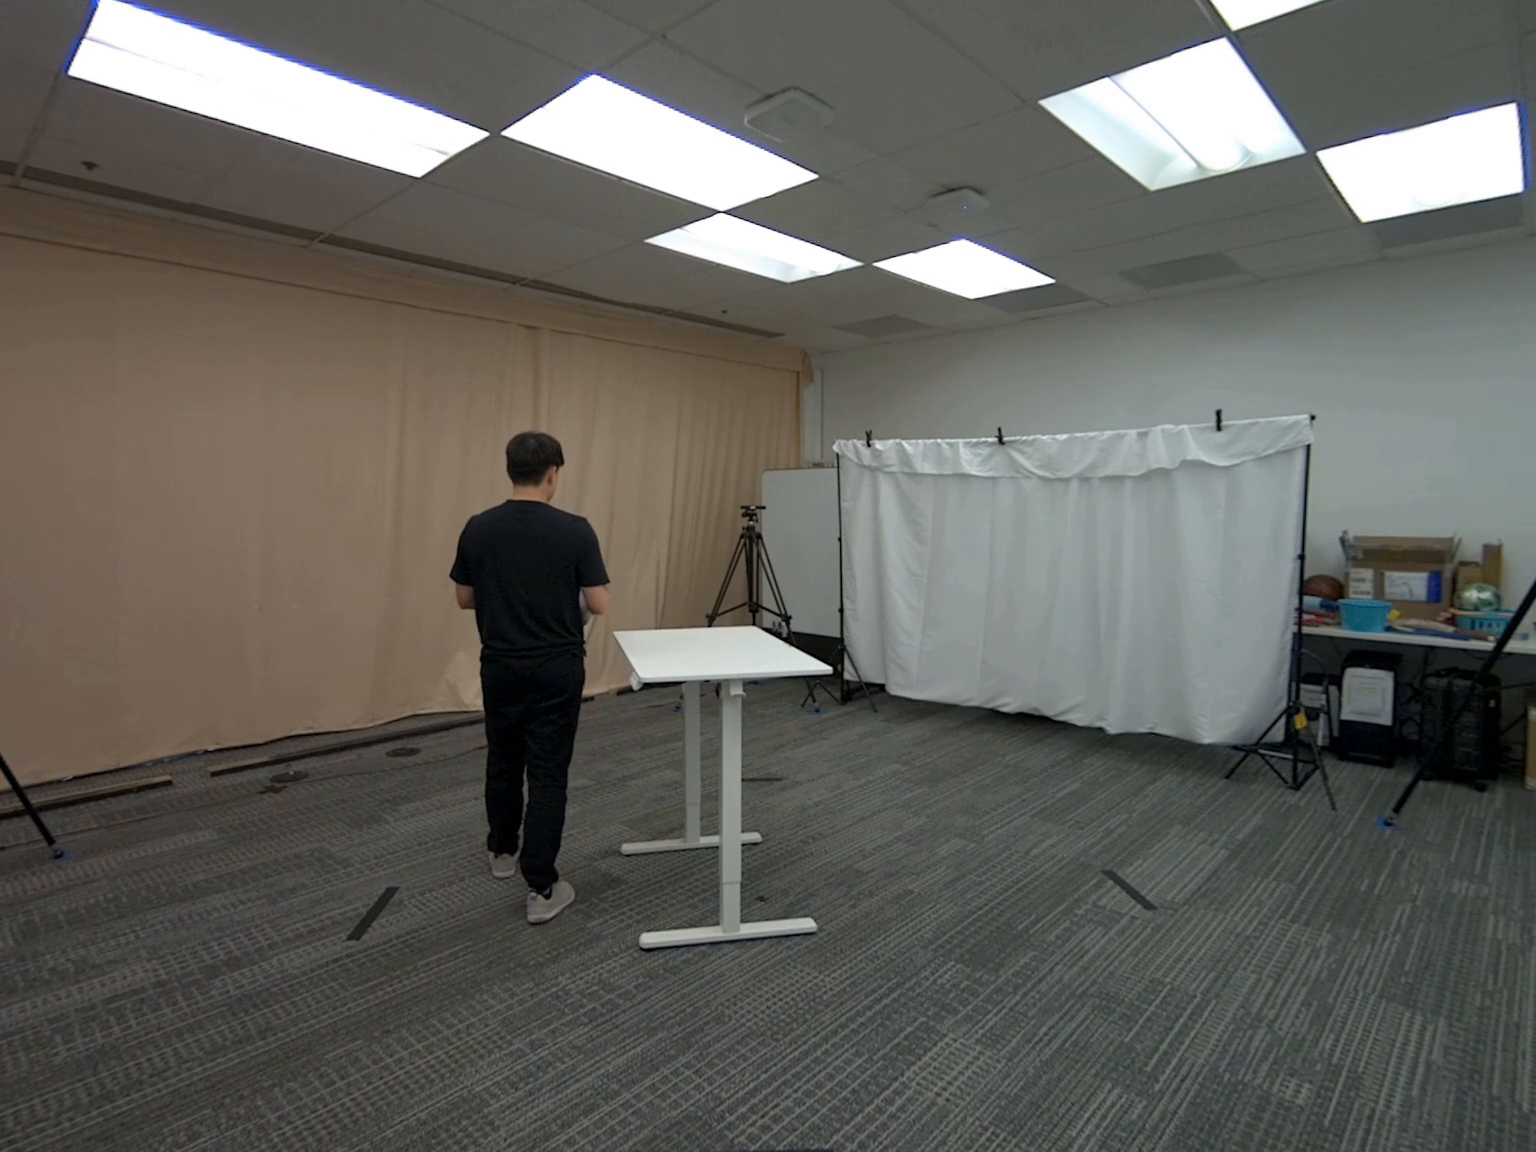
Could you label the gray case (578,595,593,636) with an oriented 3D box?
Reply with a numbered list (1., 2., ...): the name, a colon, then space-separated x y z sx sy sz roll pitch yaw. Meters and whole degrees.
1. gray case: -0.811 0.062 3.300 0.259 0.102 0.264 2 43 8
